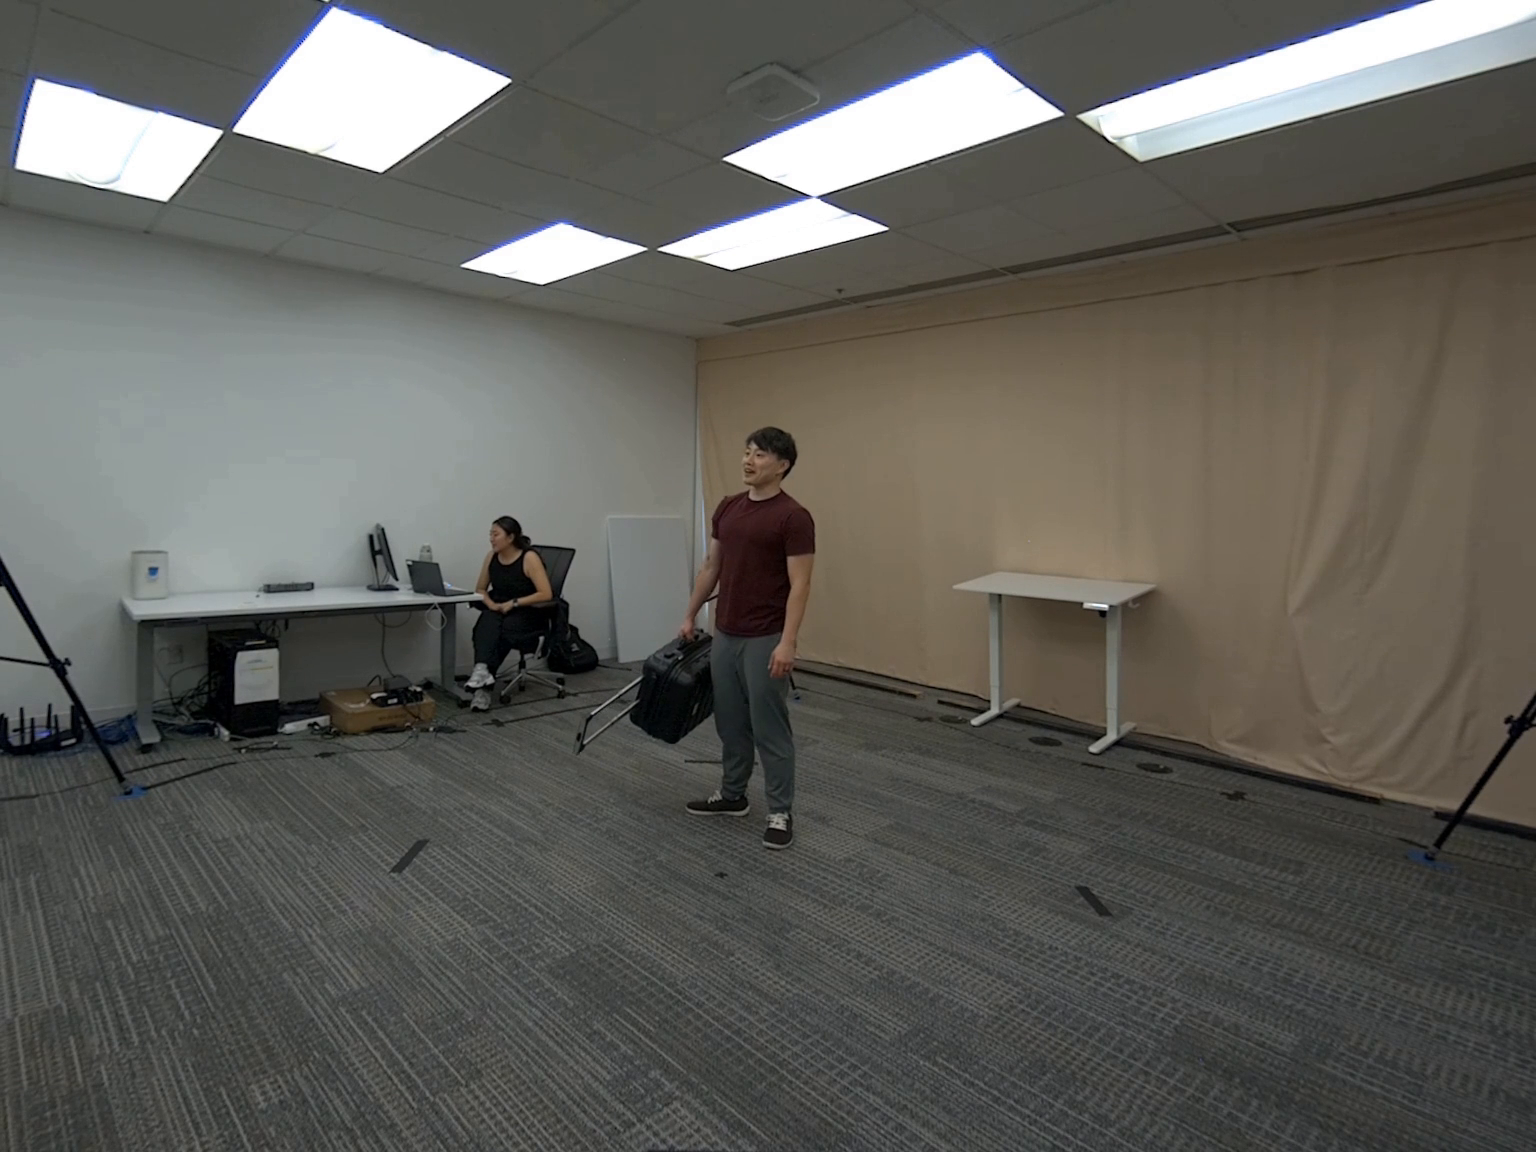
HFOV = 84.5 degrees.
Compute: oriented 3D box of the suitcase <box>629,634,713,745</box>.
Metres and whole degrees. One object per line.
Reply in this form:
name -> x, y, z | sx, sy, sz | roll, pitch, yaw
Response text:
suitcase -> -0.444, 0.517, 3.536 | 0.261, 0.381, 0.972 | 20, 17, 13
